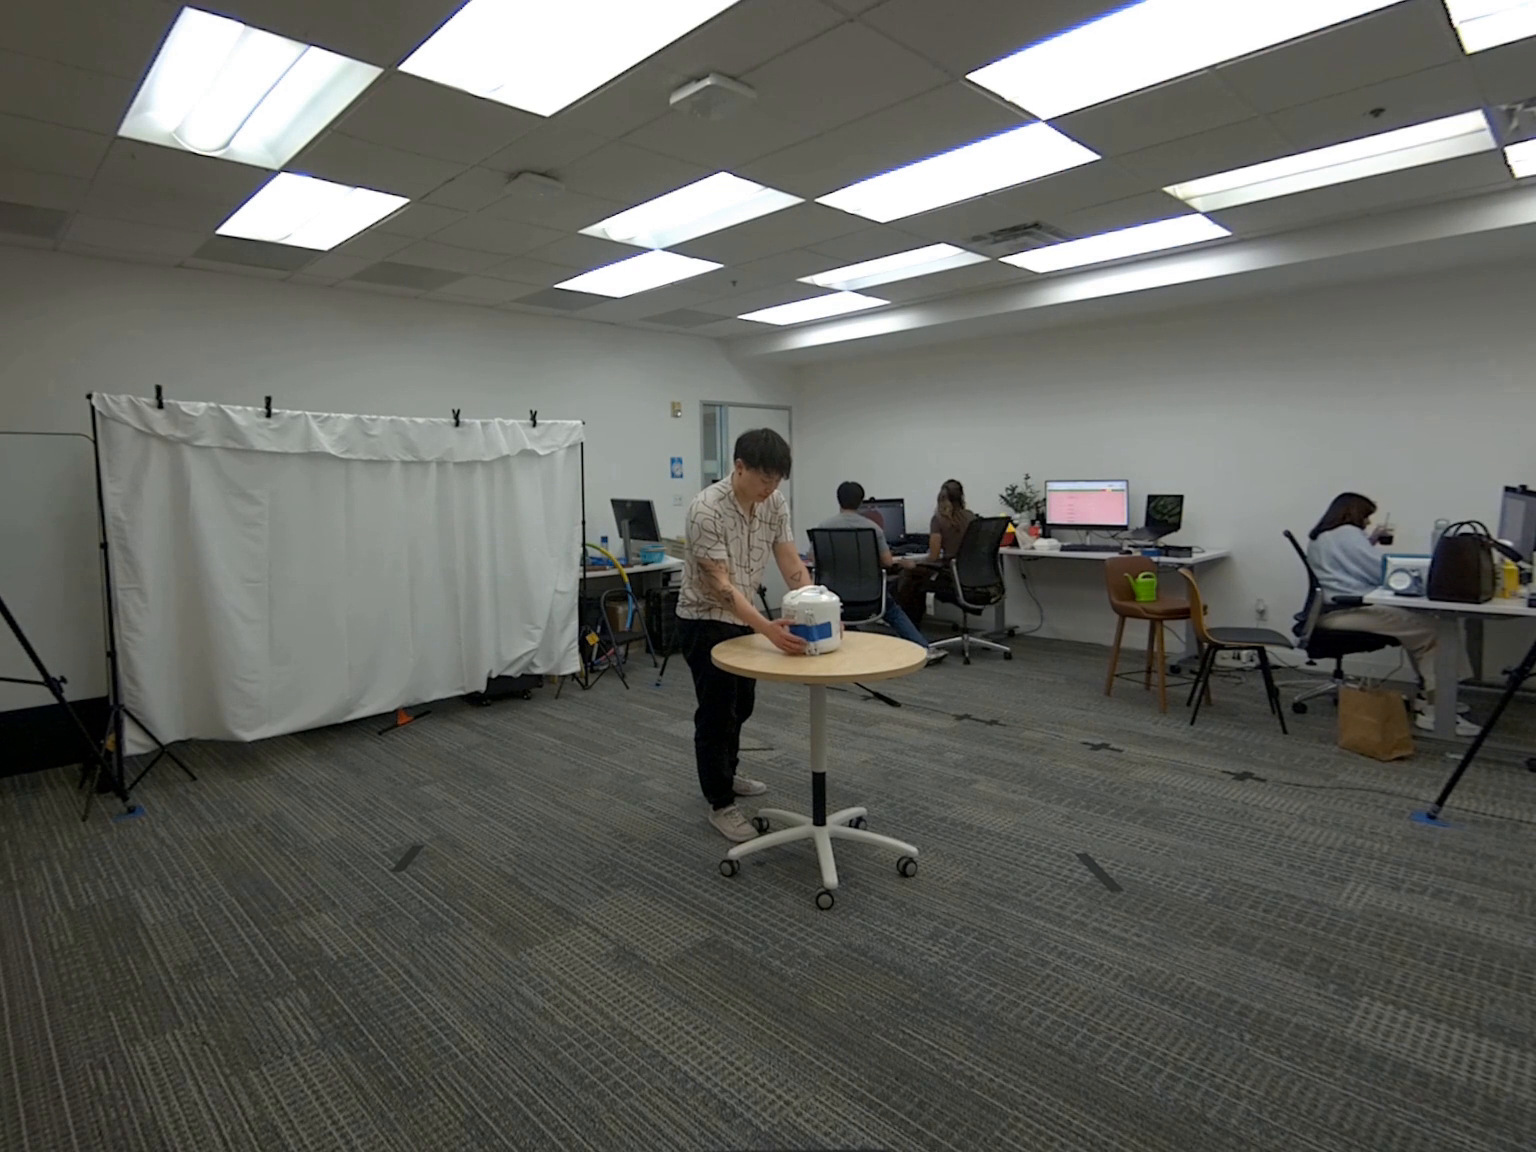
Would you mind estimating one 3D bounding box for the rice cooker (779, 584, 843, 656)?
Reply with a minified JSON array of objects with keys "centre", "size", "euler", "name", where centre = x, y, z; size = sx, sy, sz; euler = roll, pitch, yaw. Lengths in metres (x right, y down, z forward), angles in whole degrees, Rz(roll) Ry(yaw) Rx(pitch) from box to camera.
[{"centre":[0.160,0.154,3.064],"size":[0.215,0.232,0.224],"euler":[-4,7,-41],"name":"rice cooker"}]
